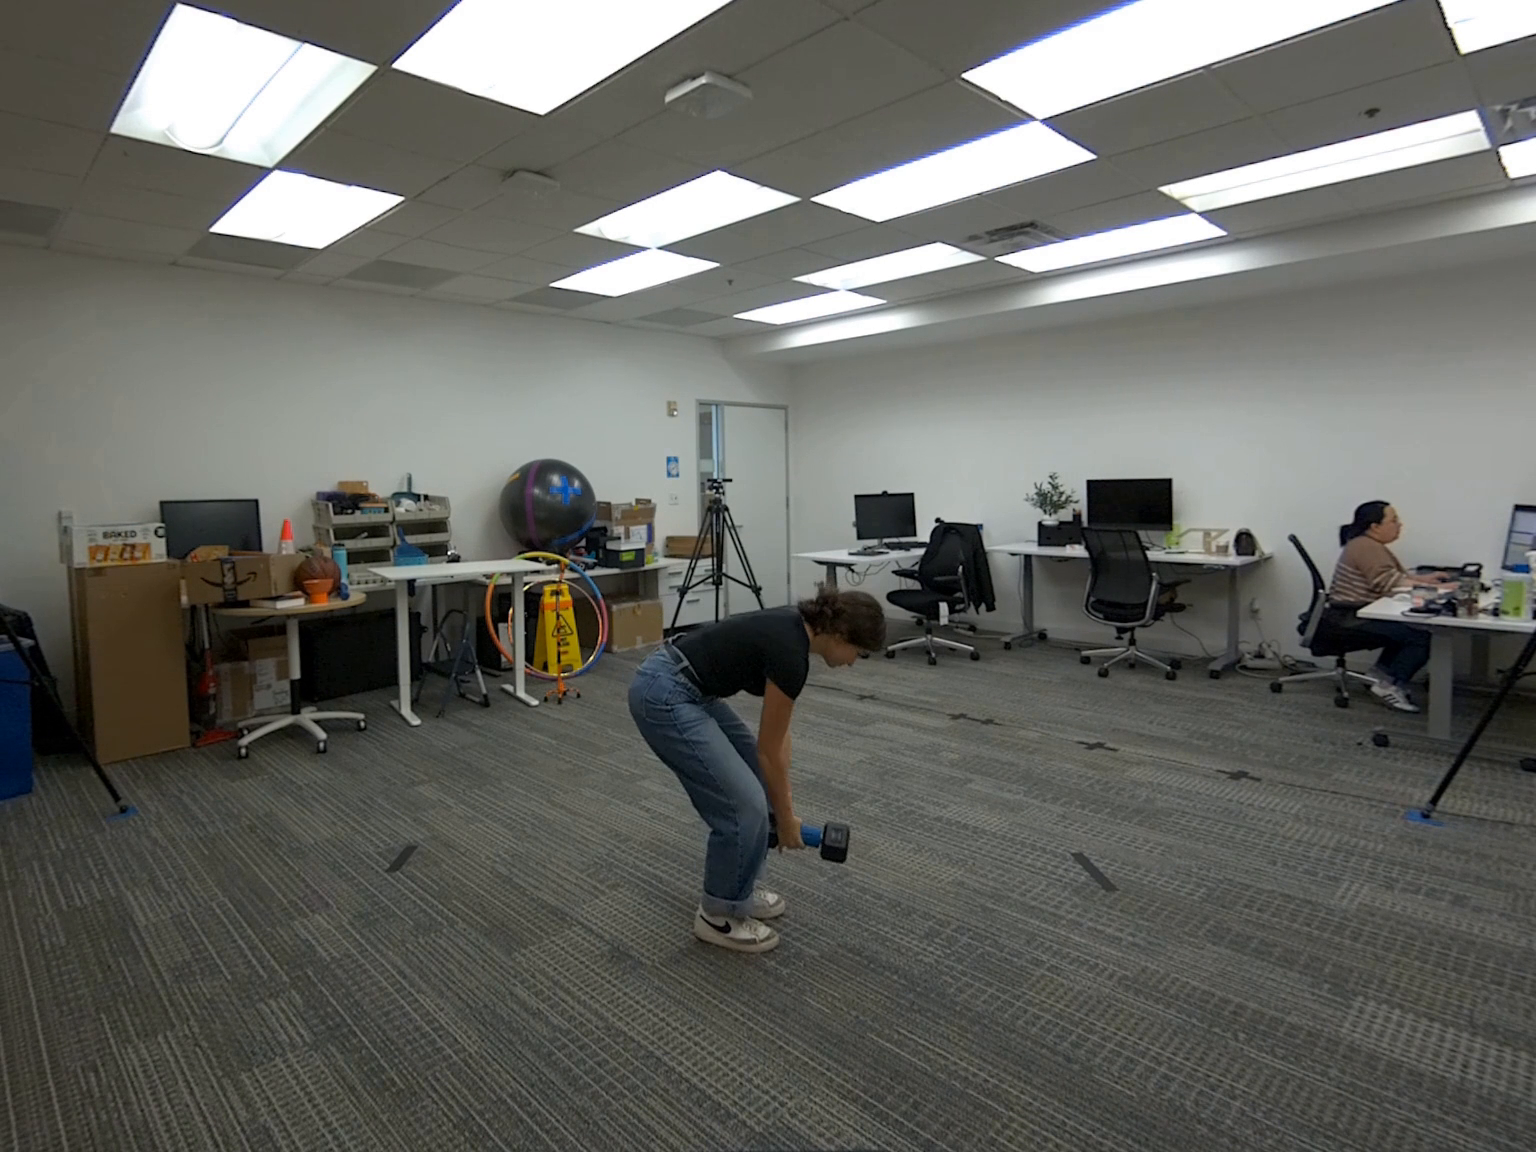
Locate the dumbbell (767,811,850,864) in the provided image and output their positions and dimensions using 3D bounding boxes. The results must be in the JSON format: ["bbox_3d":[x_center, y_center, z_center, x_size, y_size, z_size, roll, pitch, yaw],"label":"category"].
[{"bbox_3d":[0.115,0.802,2.644,0.297,0.121,0.109,6,22,9],"label":"dumbbell"}]
